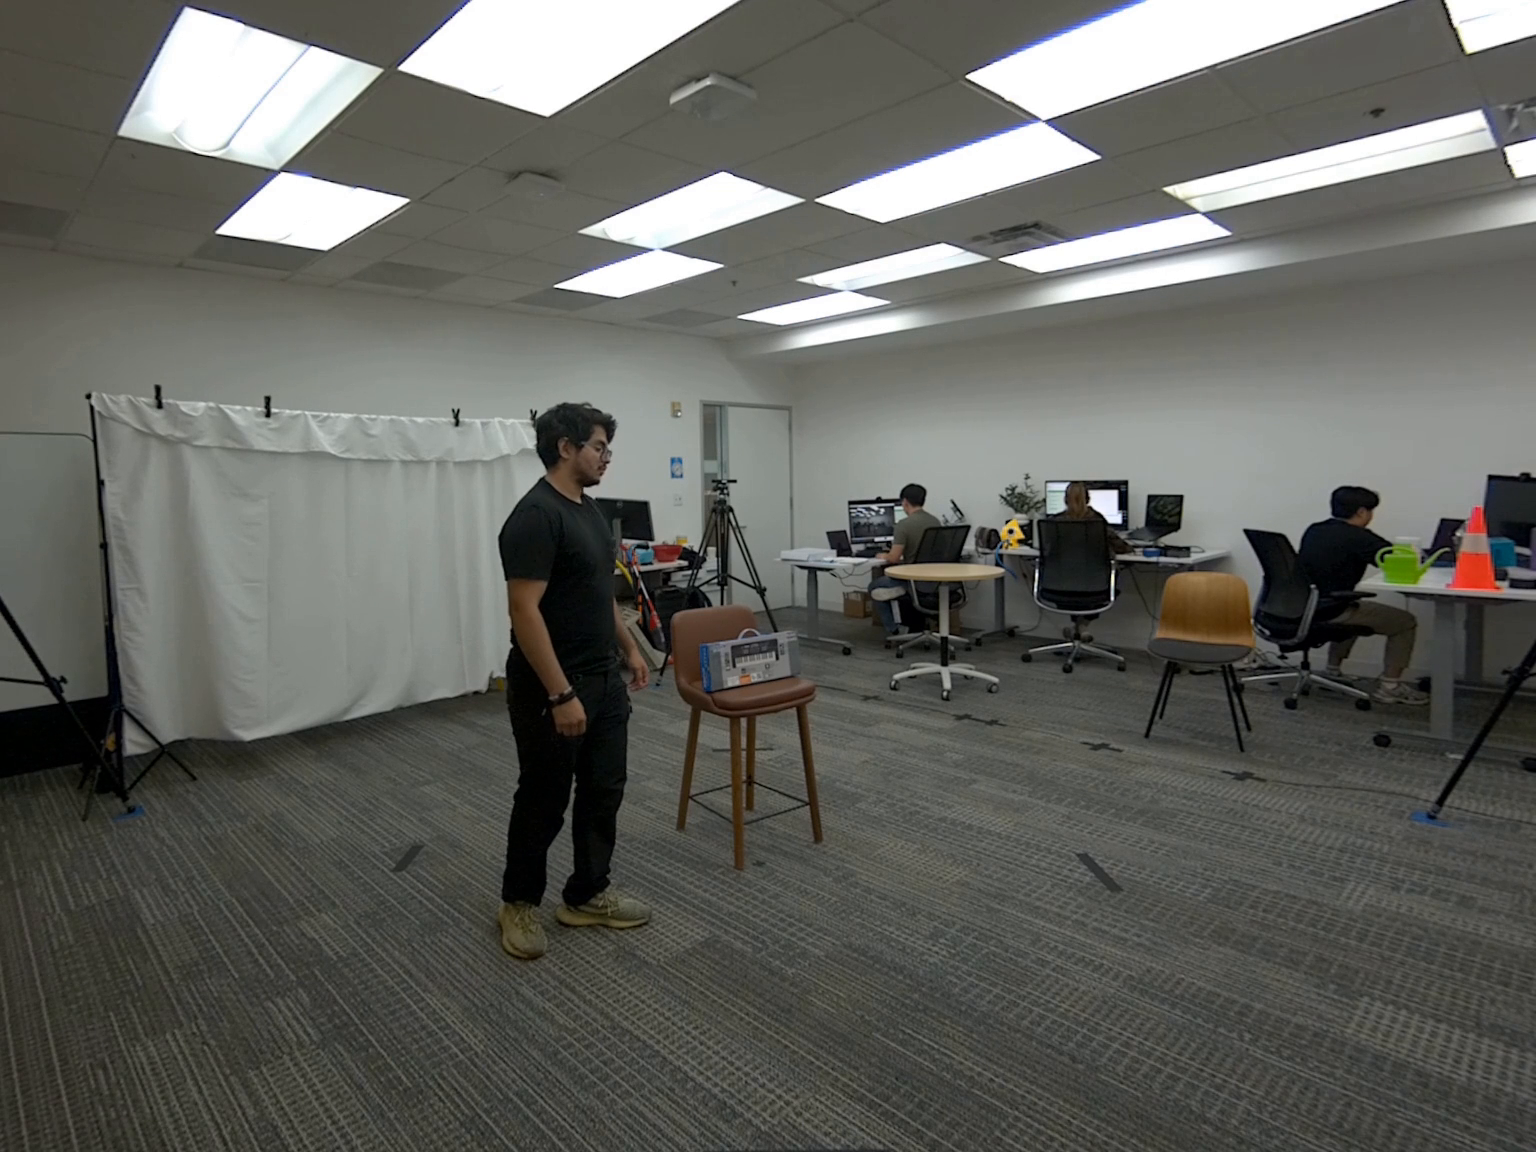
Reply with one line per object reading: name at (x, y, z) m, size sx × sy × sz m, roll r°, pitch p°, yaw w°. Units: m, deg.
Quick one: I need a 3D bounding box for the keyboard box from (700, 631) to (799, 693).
keyboard box at (-0.064, 0.325, 3.304) m, size 0.426 × 0.176 × 0.060 m, roll -5°, pitch -2°, yaw -35°
